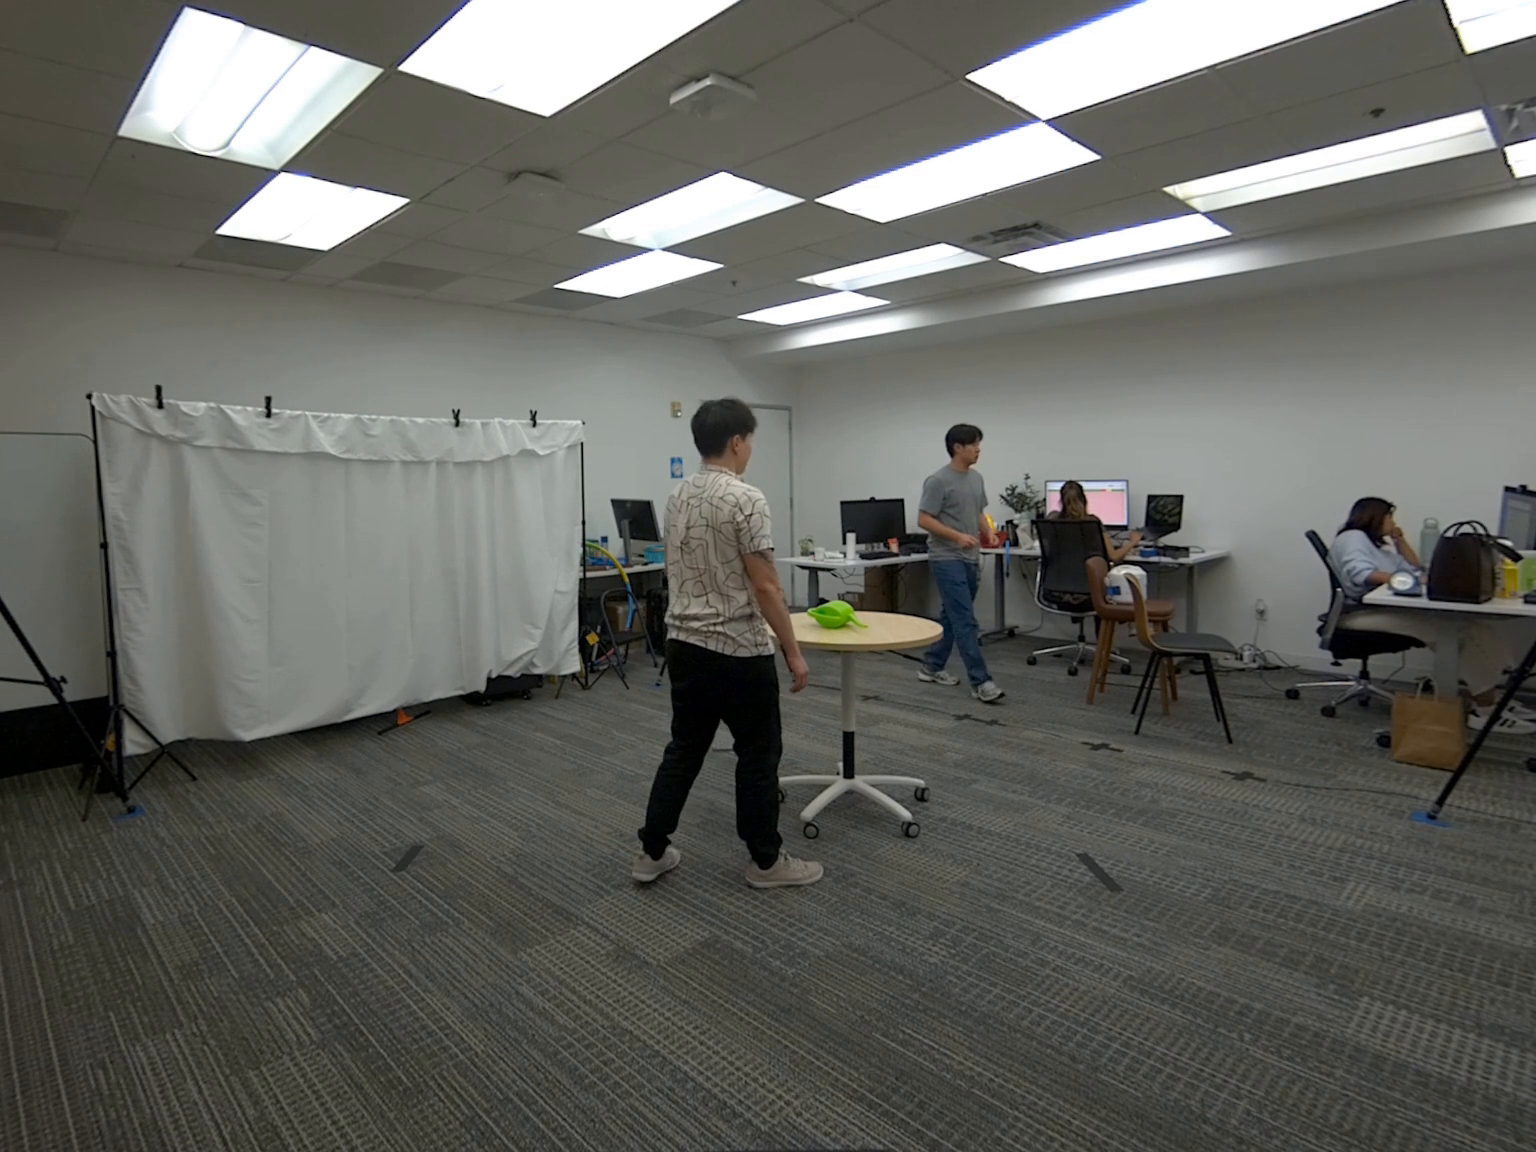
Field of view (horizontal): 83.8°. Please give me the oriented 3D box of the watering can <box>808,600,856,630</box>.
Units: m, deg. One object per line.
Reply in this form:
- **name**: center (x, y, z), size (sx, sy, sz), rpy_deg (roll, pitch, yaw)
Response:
- **watering can**: center (0.304, 0.180, 3.518), size (0.287, 0.097, 0.173), rpy_deg (24, 17, 26)
